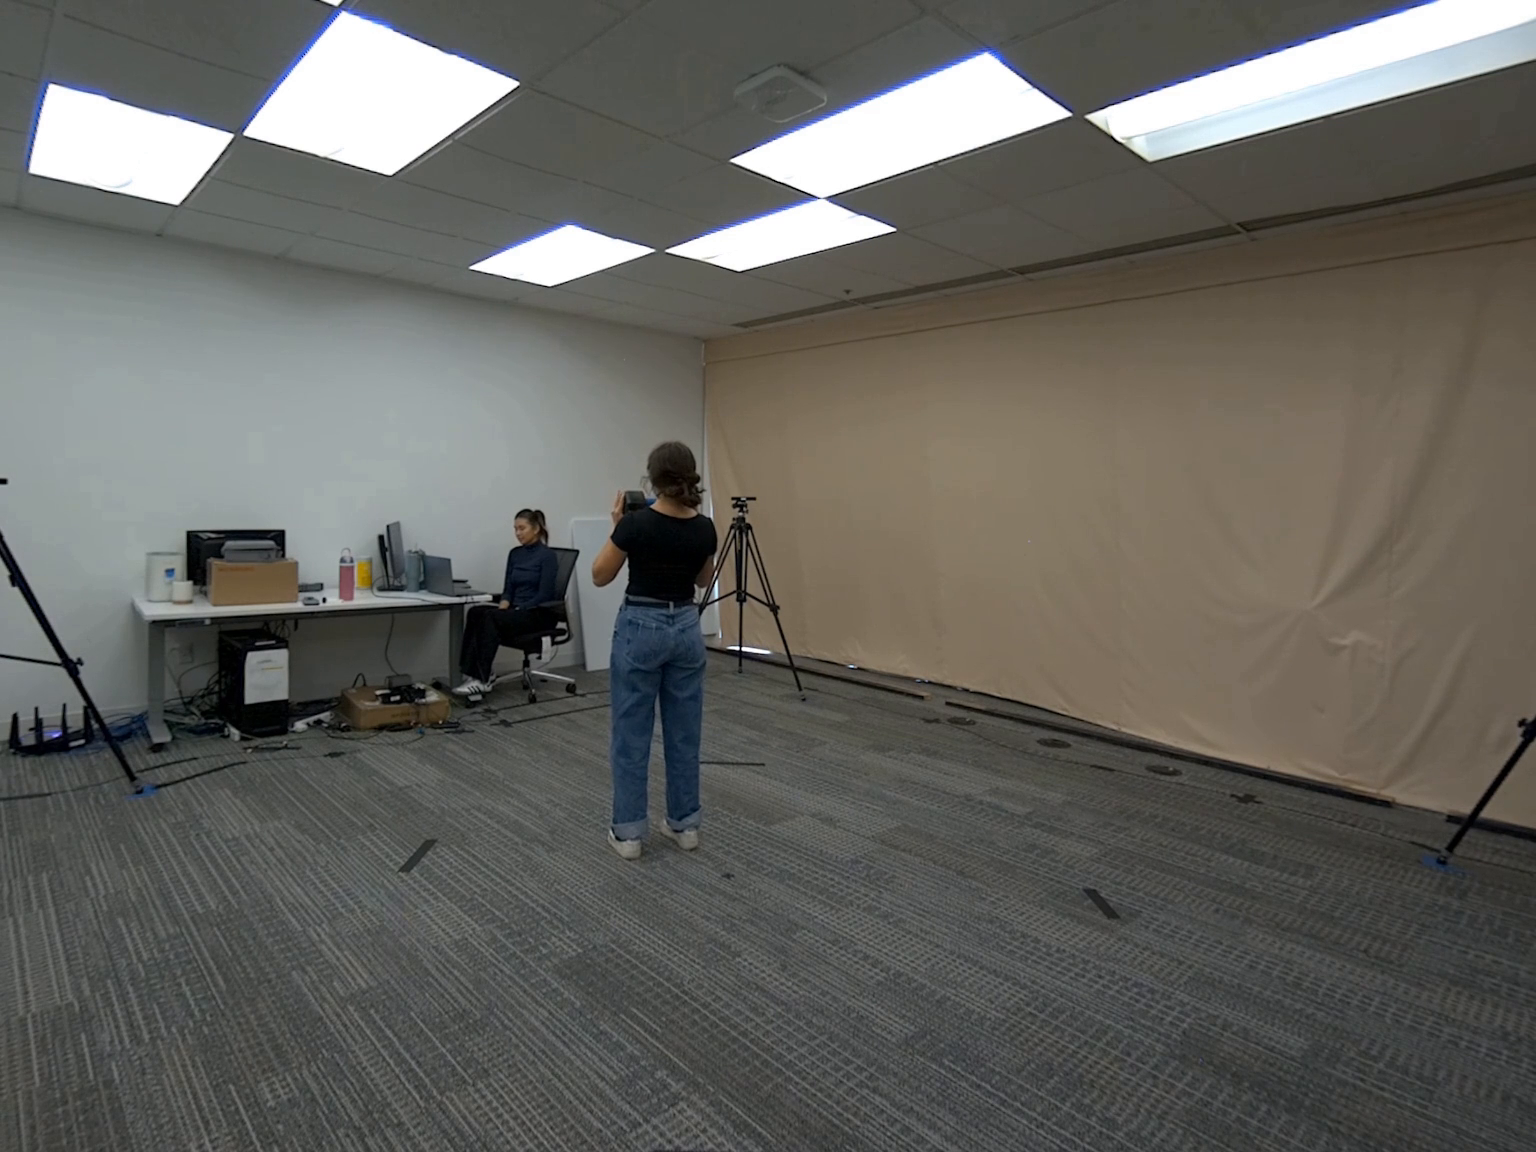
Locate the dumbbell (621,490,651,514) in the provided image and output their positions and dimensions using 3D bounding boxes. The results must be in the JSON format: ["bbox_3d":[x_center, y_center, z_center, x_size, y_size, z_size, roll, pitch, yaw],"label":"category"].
[{"bbox_3d":[-0.447,-0.289,3.362,0.288,0.126,0.108,-1,-32,-29],"label":"dumbbell"}]
